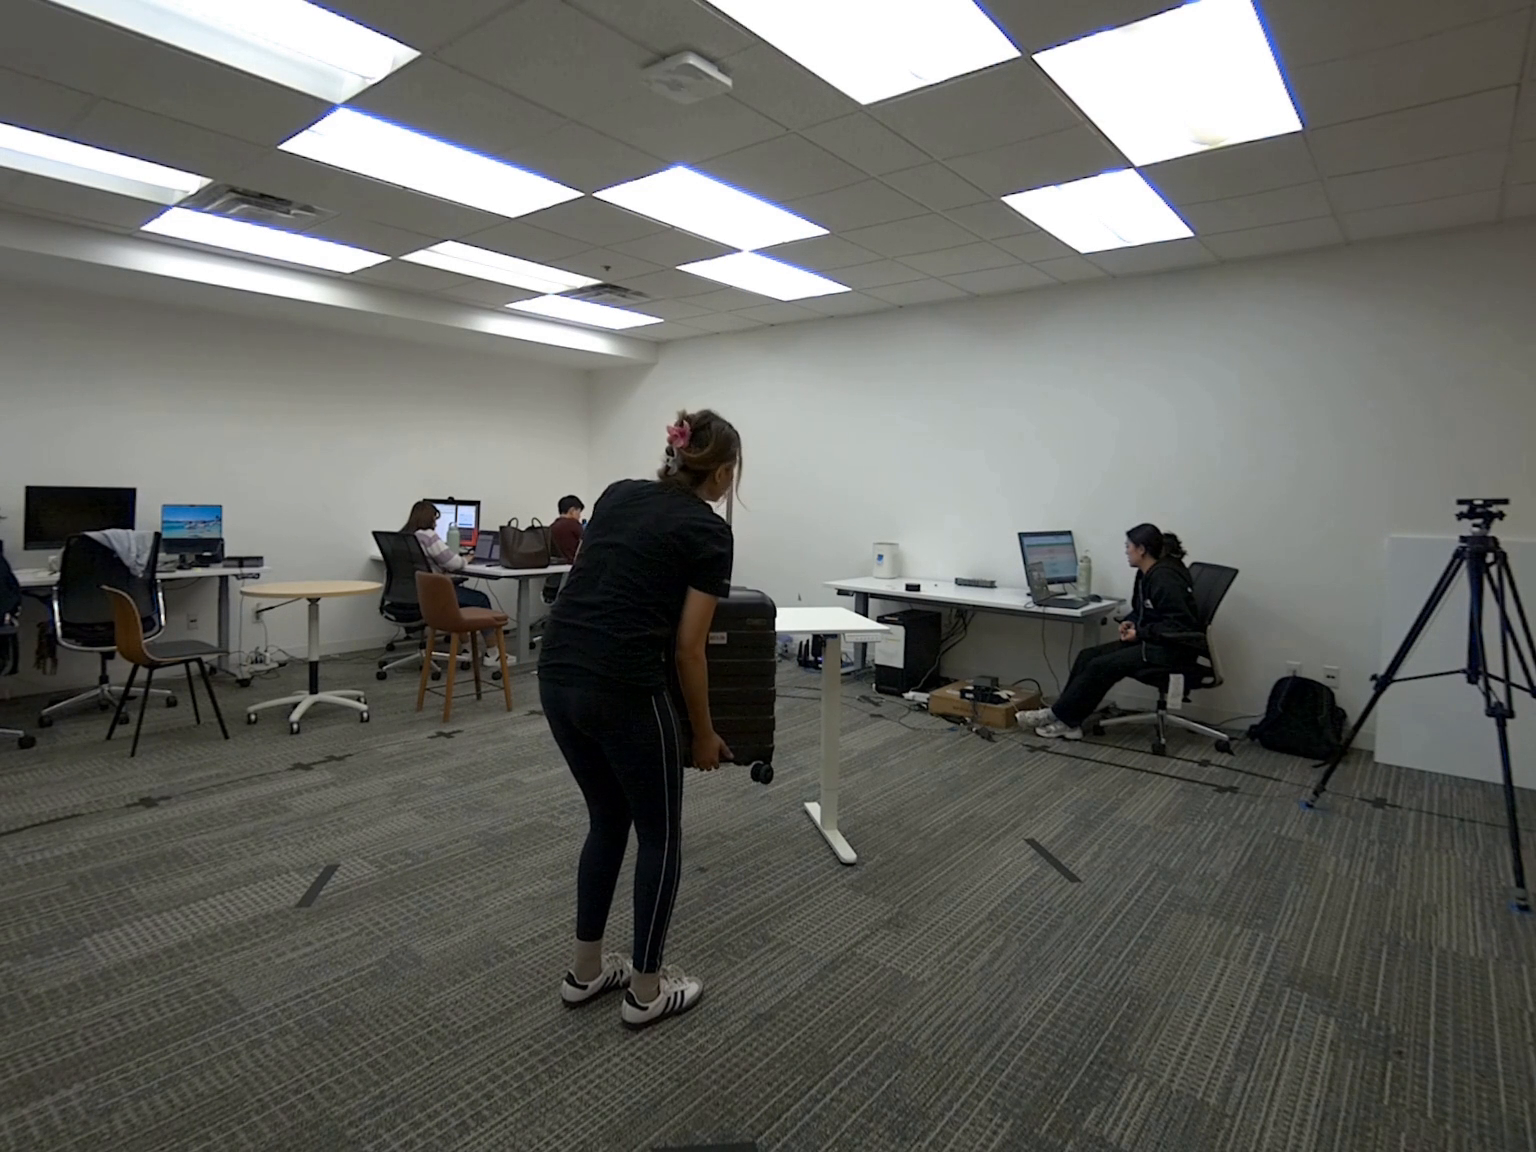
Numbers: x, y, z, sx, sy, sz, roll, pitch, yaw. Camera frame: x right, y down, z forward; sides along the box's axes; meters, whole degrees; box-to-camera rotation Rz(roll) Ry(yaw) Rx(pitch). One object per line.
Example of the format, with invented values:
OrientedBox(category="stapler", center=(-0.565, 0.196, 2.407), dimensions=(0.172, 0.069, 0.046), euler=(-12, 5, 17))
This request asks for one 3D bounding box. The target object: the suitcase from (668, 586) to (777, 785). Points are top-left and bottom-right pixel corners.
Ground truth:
OrientedBox(category="suitcase", center=(-0.161, 0.094, 2.493), dimensions=(0.379, 0.979, 0.260), euler=(2, 0, -12))
